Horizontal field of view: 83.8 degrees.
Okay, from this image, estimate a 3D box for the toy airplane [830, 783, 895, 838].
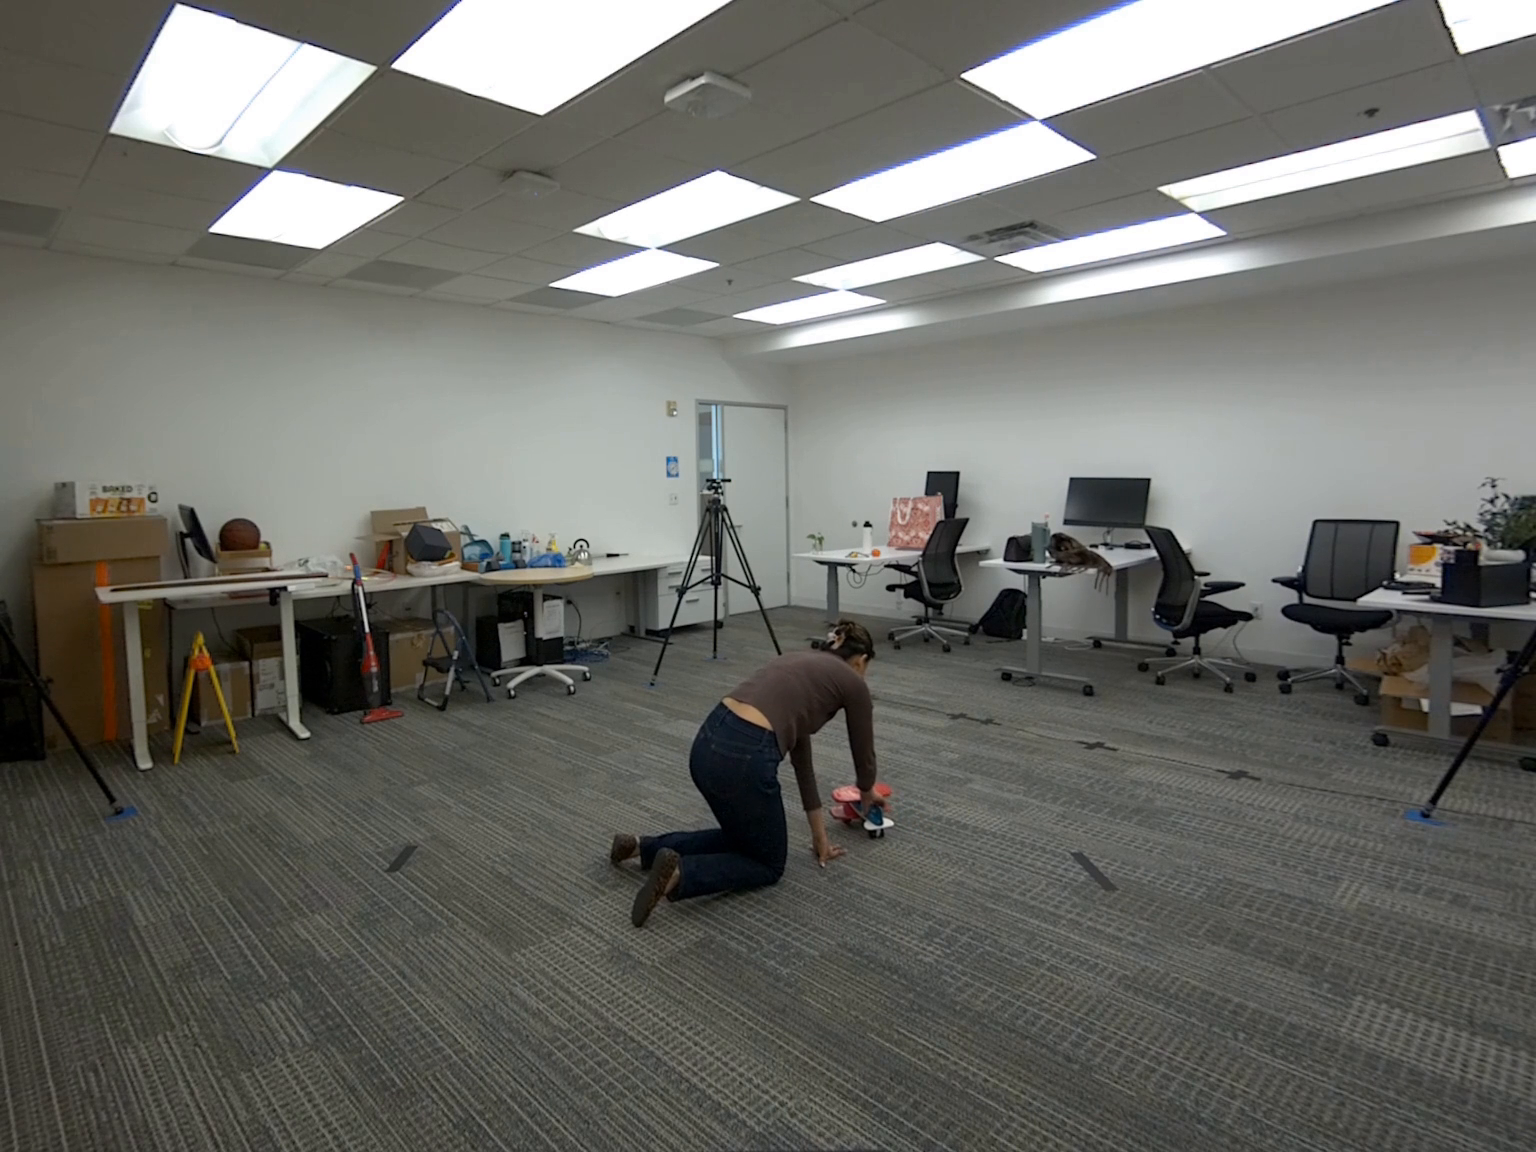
[{"bbox_3d":[0.406,0.932,3.404,0.267,0.156,0.244,2,5,43],"label":"toy airplane"}]
